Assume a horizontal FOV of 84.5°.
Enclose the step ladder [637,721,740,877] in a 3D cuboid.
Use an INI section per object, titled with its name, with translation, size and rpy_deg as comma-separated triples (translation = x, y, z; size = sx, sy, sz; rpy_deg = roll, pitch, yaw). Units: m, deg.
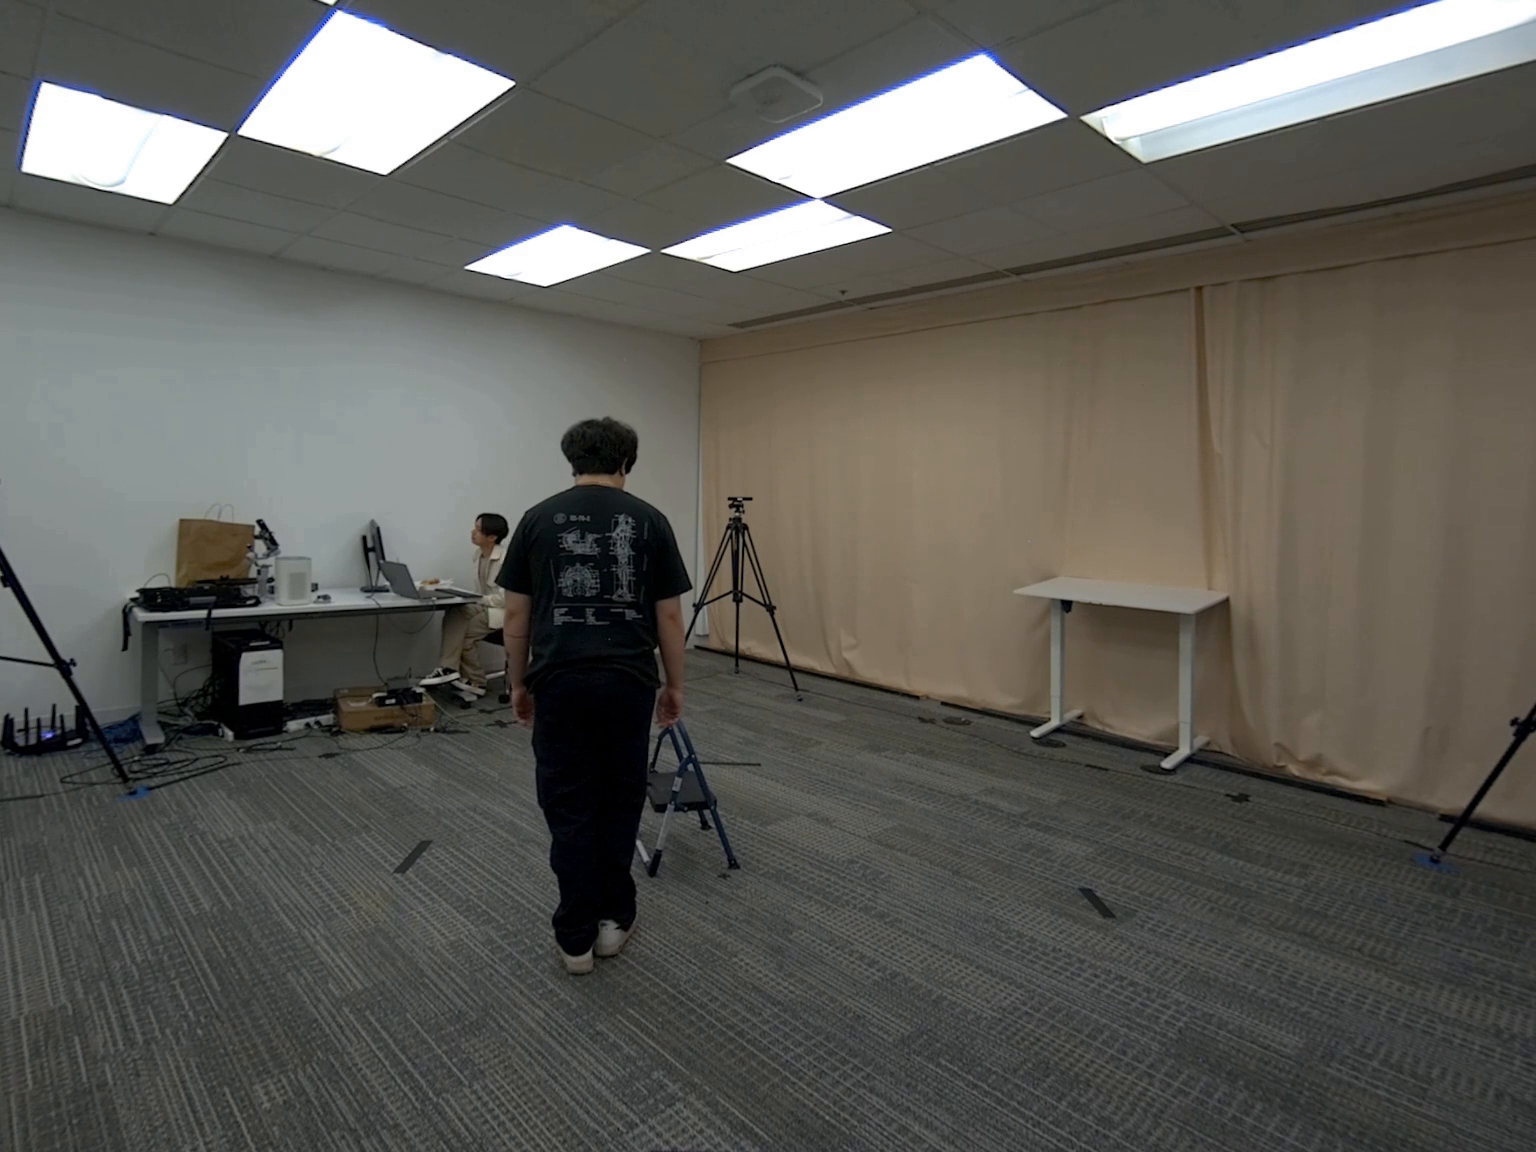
[step ladder]
translation = -0.337, 0.780, 3.305
size = 0.344, 0.605, 0.438
rpy_deg = 0, 4, -19
